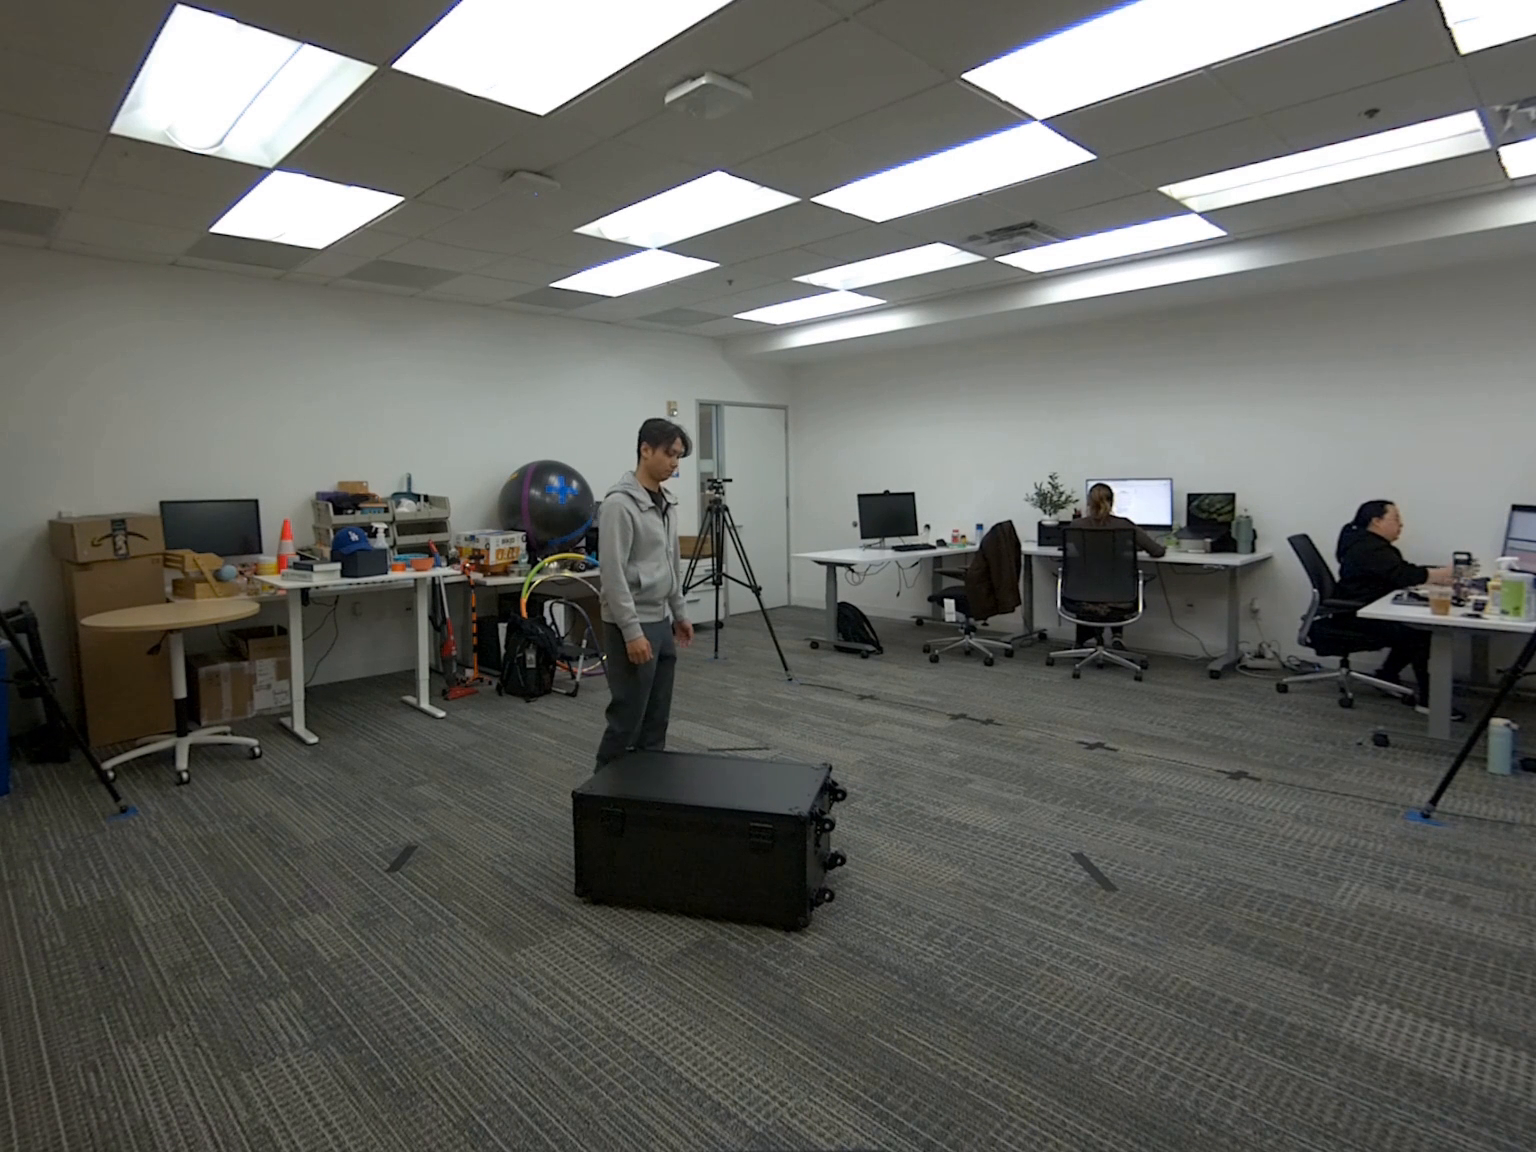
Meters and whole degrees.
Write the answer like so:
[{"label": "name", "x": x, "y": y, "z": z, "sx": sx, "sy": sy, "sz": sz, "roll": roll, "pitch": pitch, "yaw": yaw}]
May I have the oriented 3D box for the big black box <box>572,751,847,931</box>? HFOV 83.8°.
[{"label": "big black box", "x": -0.175, "y": 0.873, "z": 2.925, "sx": 0.875, "sy": 0.394, "sz": 0.516, "roll": 0, "pitch": 6, "yaw": 15}]
